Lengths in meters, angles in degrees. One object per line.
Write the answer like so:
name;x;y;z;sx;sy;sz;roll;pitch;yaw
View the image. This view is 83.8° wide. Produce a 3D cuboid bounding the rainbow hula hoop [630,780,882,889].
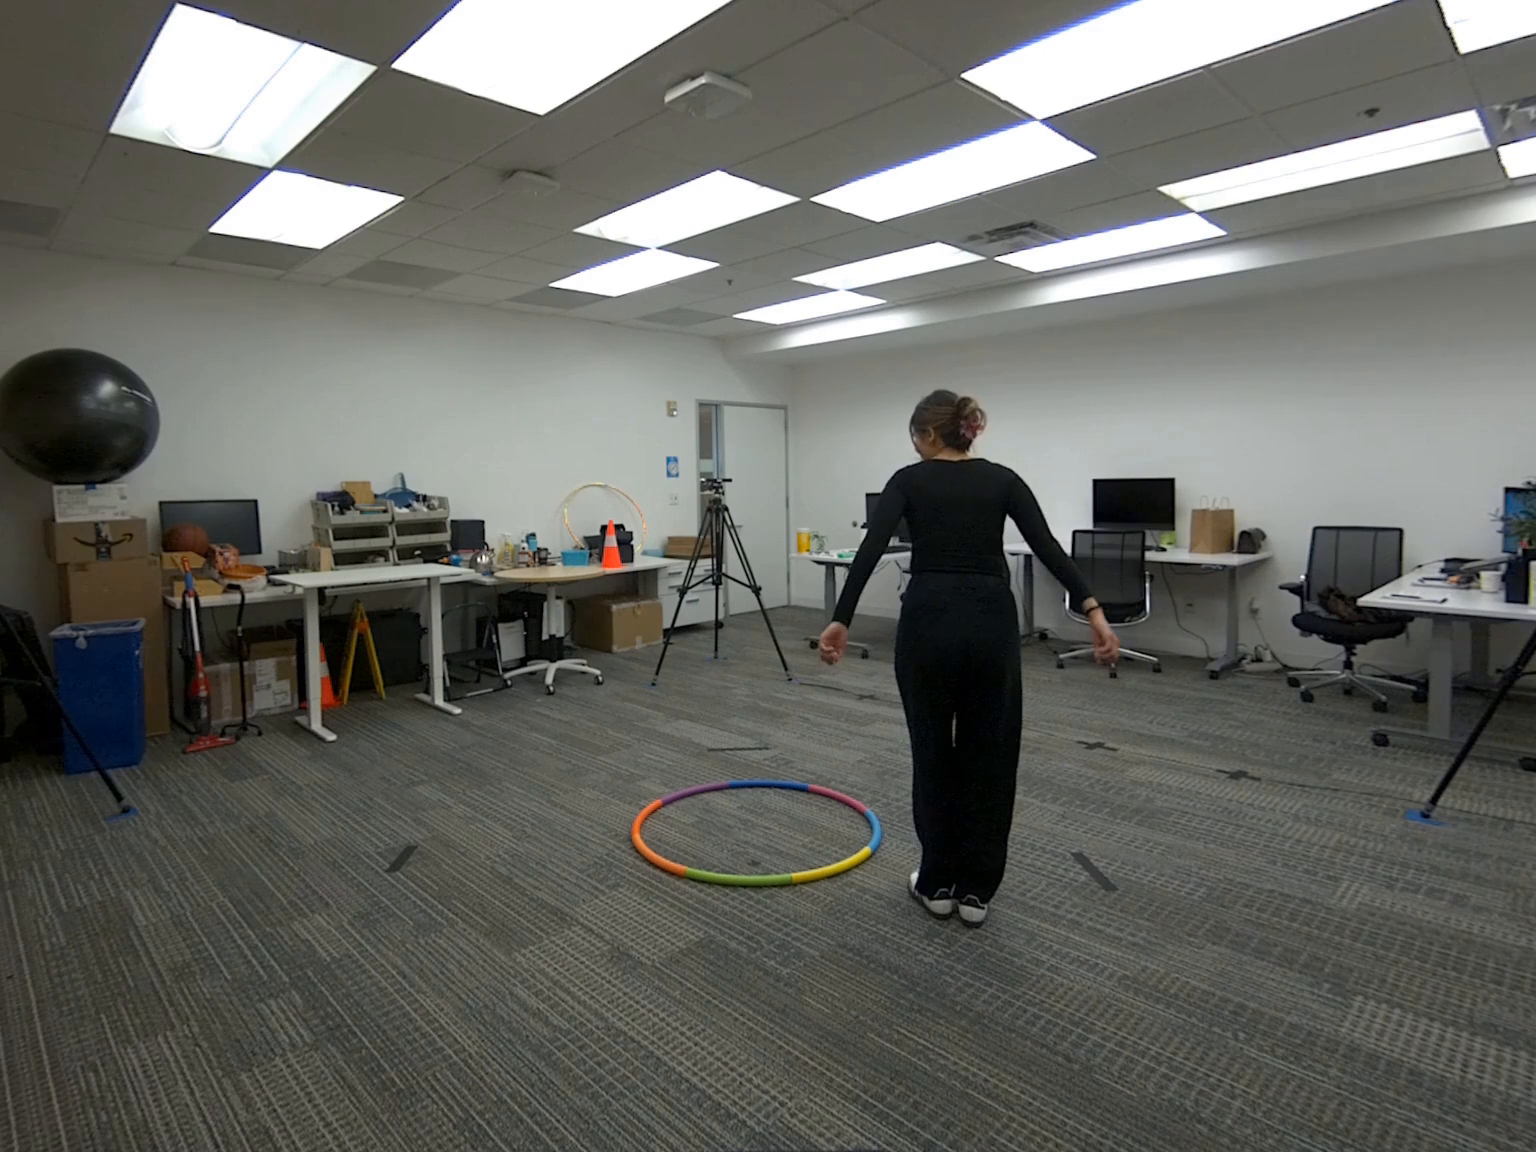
rainbow hula hoop;-0.046;0.982;3.401;0.978;0.035;0.984;-1;6;-2
